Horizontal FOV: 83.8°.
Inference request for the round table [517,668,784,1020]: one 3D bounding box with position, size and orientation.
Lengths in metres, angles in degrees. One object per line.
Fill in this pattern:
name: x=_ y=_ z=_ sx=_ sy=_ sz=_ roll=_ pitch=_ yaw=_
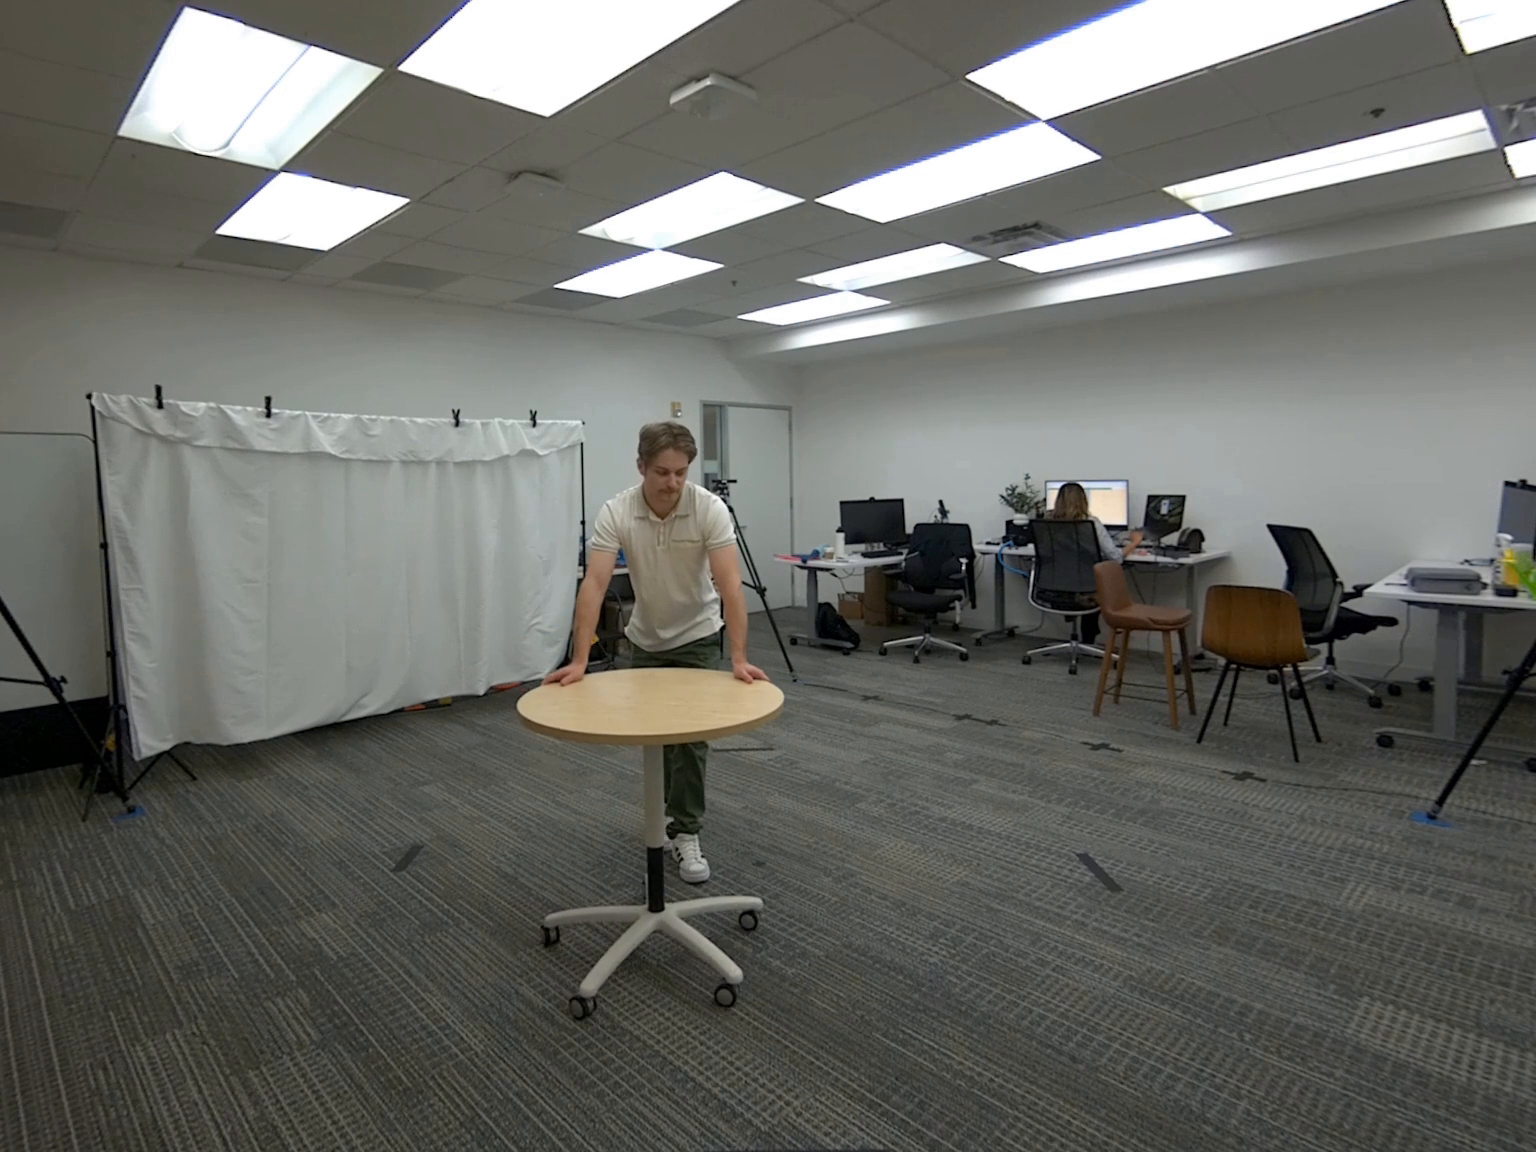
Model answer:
round table: x=-0.335 y=0.740 z=2.501 sx=0.763 sy=0.791 sz=0.768 roll=-1 pitch=5 yaw=-2
